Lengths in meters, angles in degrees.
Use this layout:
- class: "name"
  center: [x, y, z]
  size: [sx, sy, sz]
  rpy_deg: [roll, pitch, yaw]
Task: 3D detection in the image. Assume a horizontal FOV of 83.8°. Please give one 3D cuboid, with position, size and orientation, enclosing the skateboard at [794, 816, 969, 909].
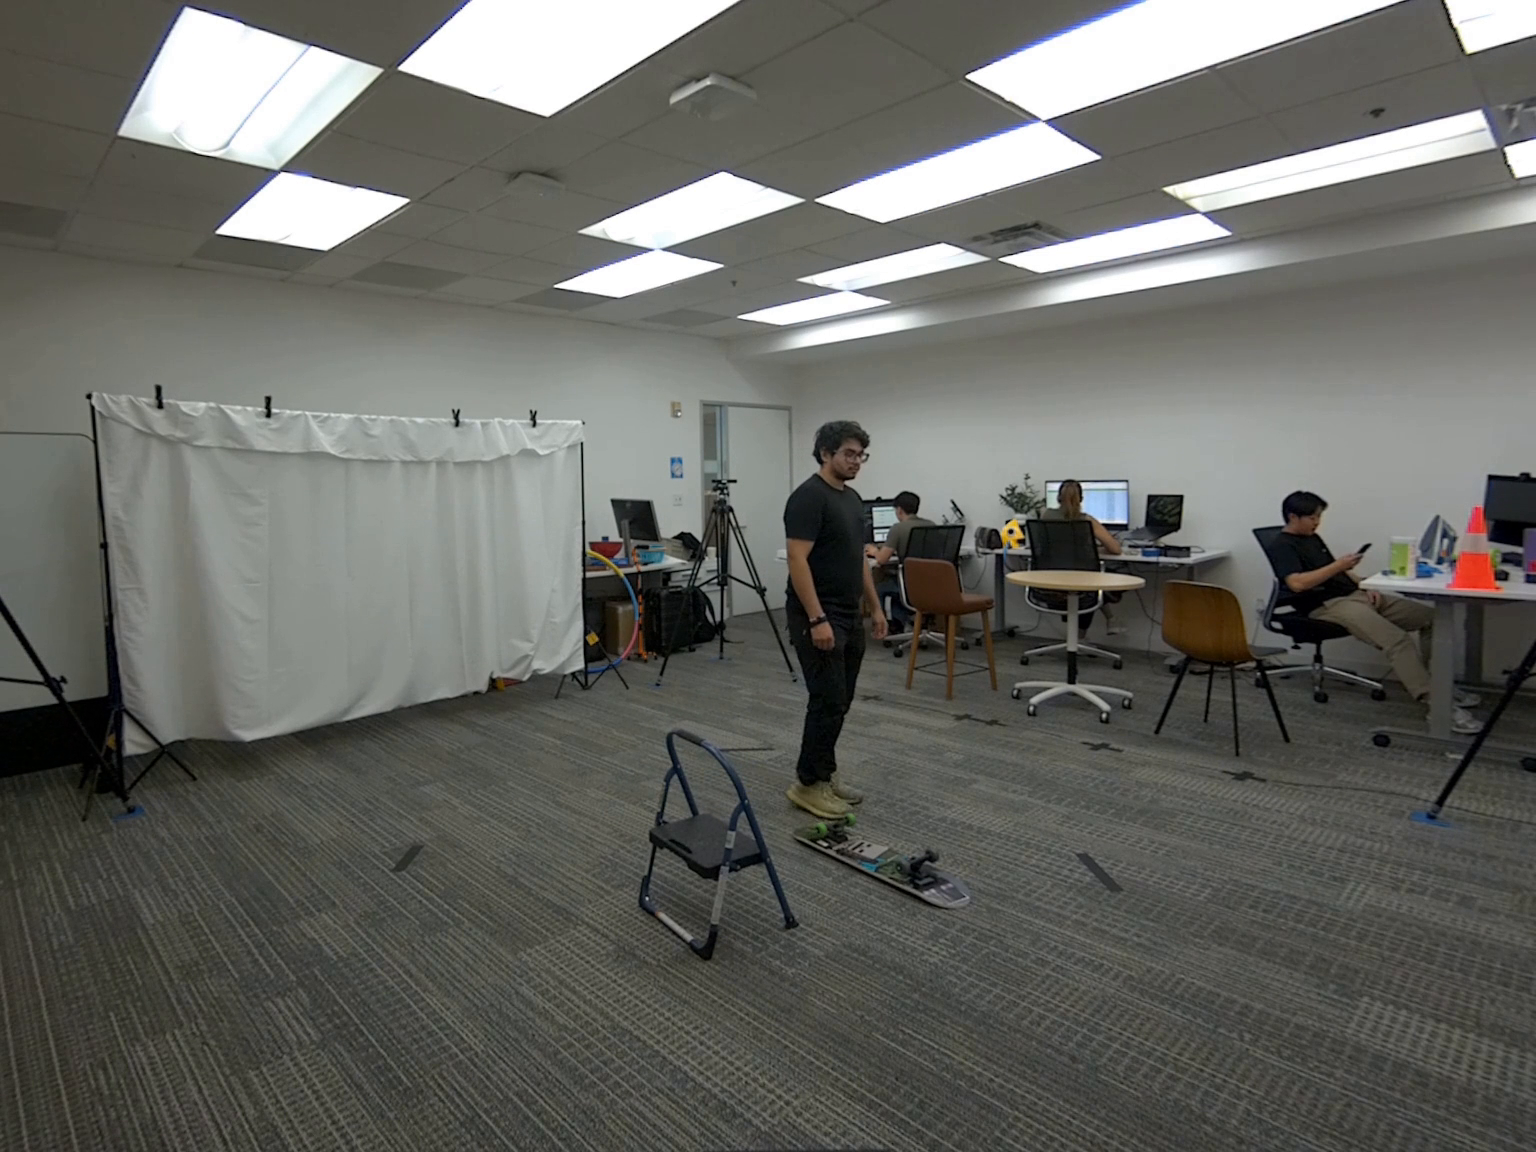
- class: "skateboard"
  center: [0.387, 0.996, 3.086]
  size: [0.188, 0.110, 0.809]
  rpy_deg: [-5, 8, -39]
